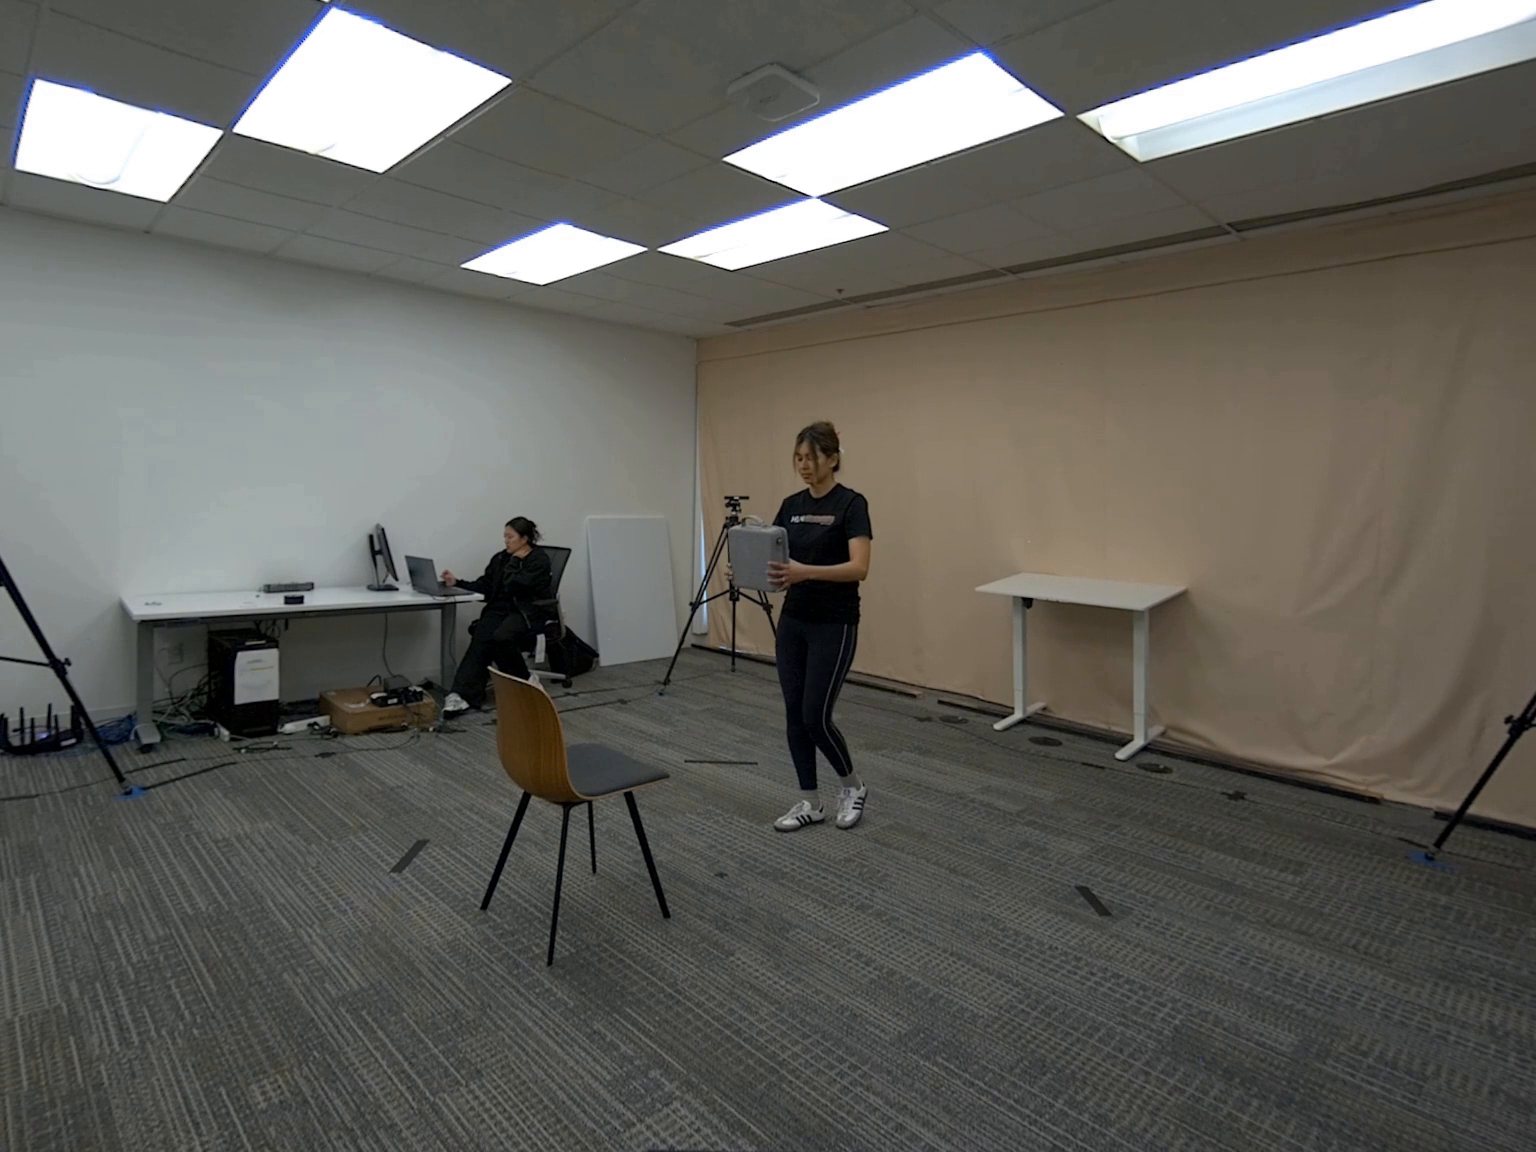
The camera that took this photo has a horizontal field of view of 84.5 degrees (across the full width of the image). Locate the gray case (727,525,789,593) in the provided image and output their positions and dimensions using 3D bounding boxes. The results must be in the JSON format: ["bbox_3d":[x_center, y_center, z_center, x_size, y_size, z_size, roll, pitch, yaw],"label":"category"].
[{"bbox_3d":[-0.041,-0.076,3.307,0.263,0.259,0.102,4,11,44],"label":"gray case"}]
